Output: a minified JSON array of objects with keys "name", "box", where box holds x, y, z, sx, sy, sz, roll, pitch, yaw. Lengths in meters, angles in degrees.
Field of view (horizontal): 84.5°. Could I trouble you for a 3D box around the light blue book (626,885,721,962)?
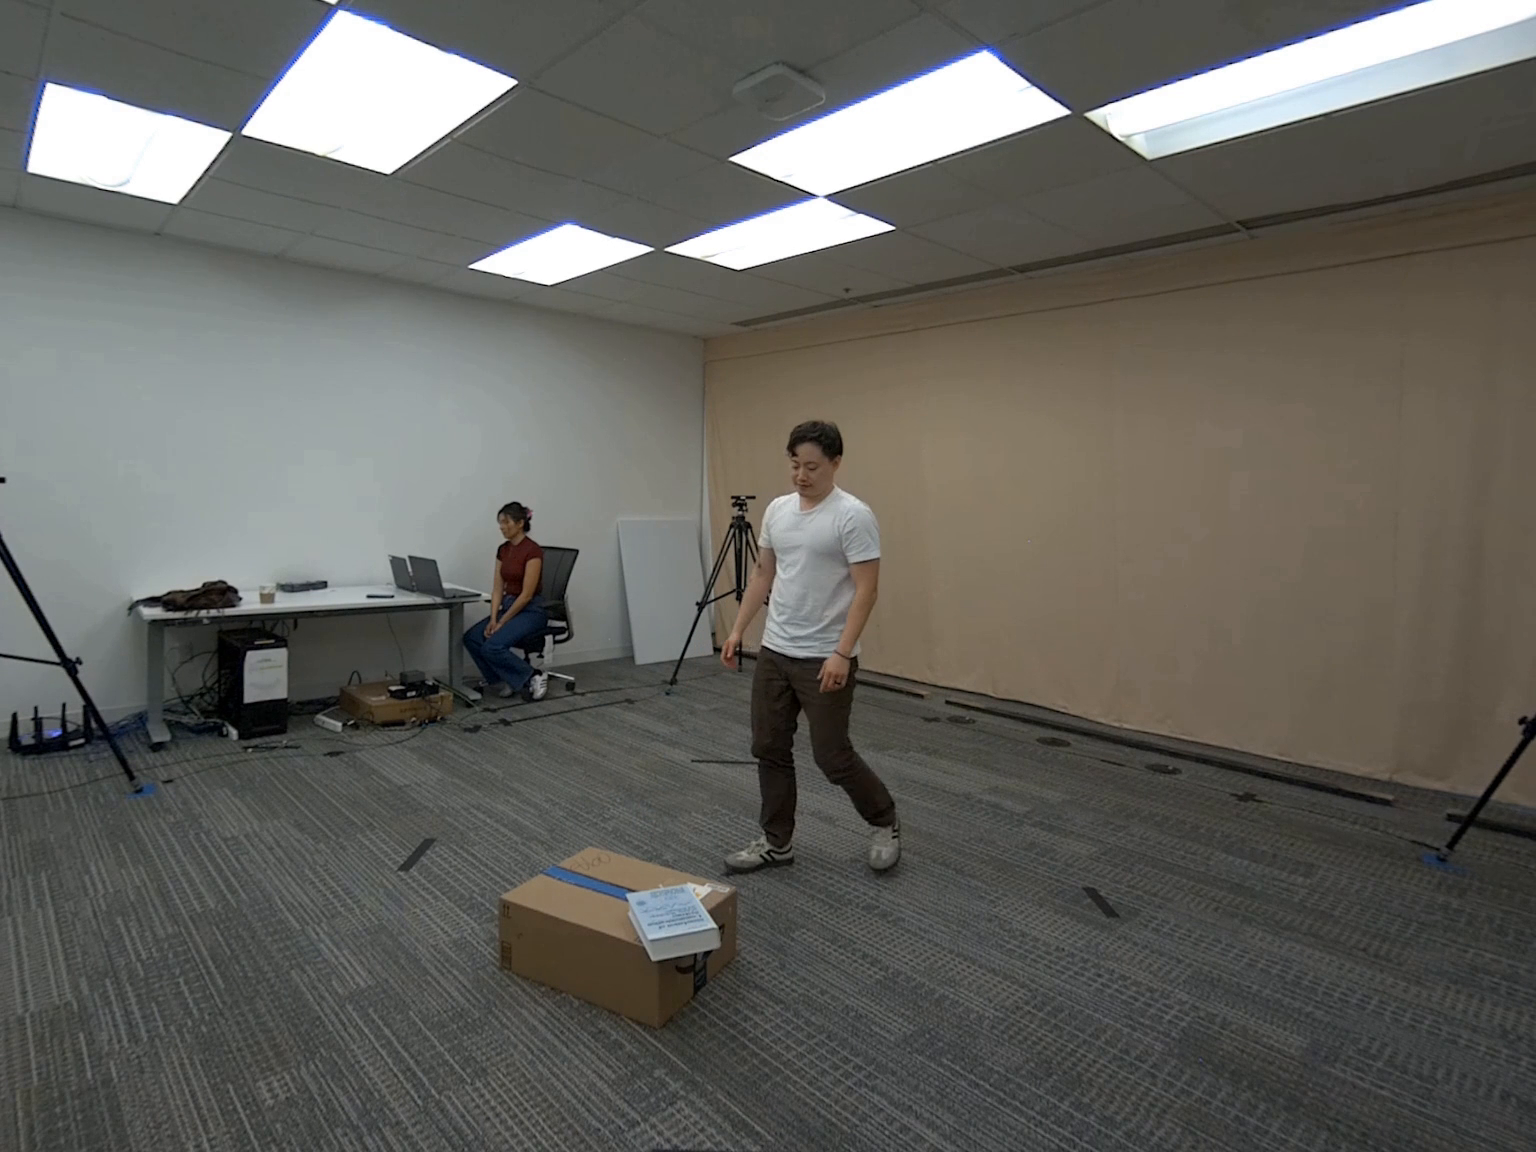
[{"name":"light blue book","box":[-0.269,0.930,2.274,0.188,0.059,0.266,-3,6,-21]}]
